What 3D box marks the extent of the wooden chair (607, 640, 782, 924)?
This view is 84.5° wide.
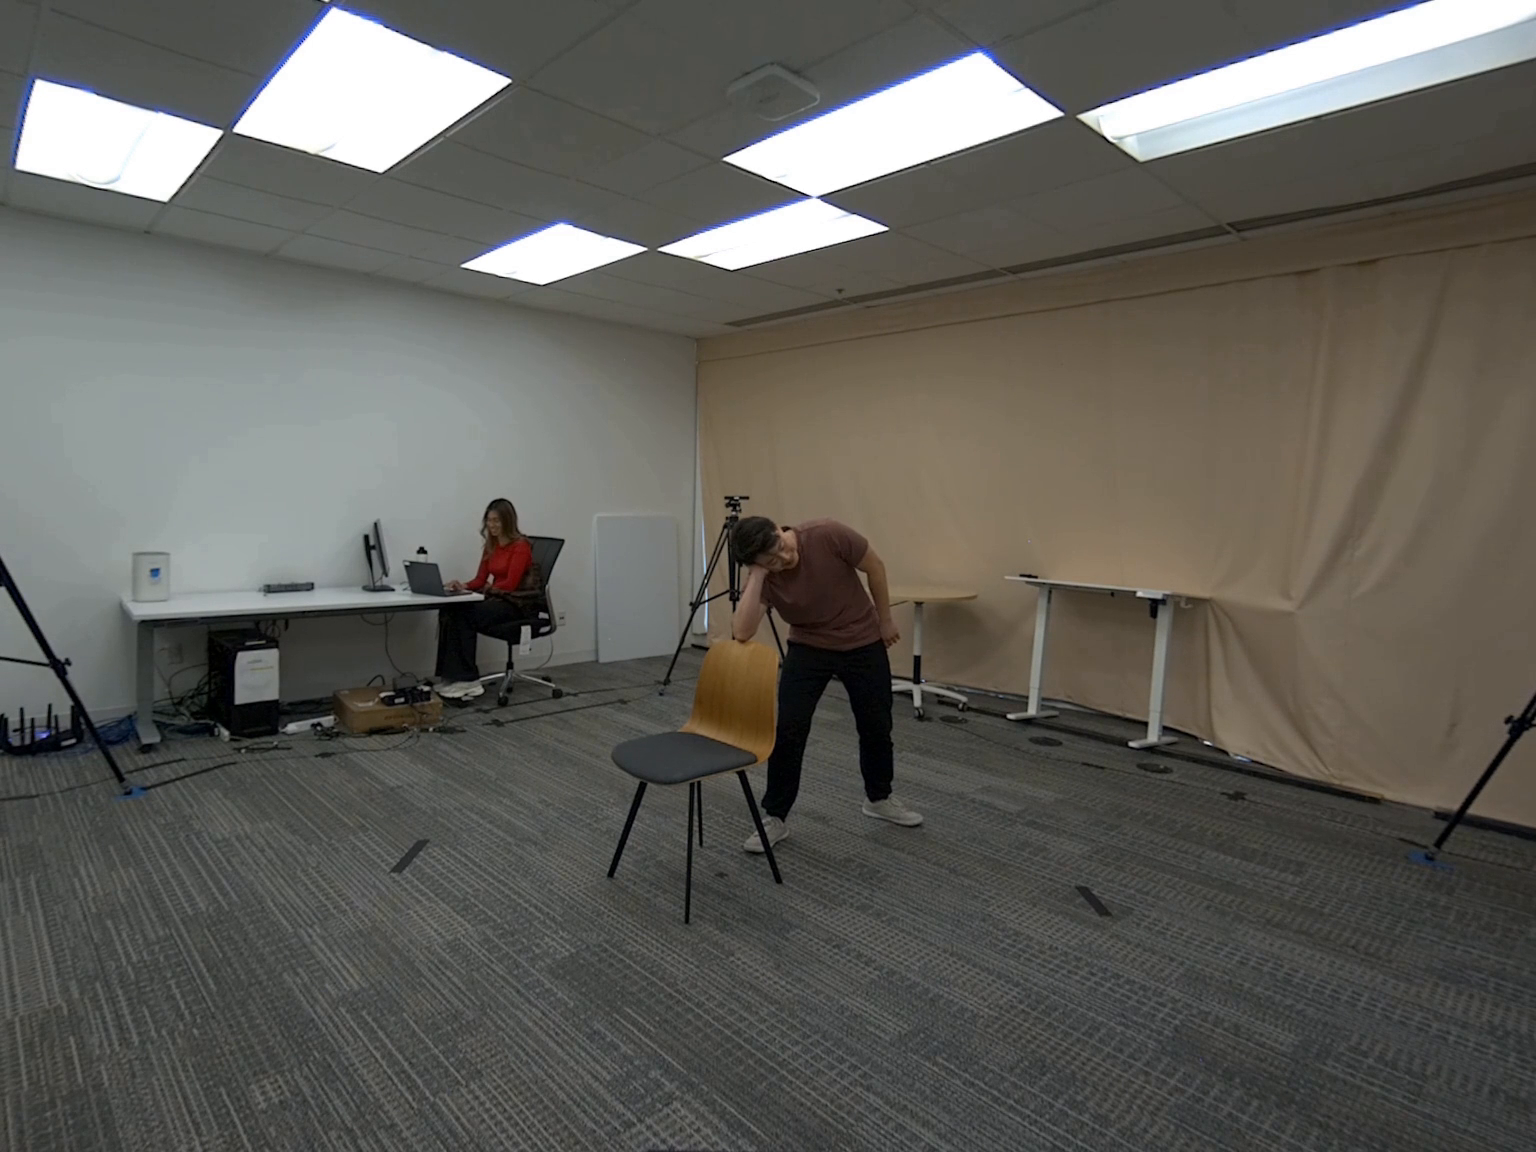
[{"bbox_3d":[-0.266,0.681,3.017,0.510,0.877,0.490,4,1,-44],"label":"wooden chair"}]
